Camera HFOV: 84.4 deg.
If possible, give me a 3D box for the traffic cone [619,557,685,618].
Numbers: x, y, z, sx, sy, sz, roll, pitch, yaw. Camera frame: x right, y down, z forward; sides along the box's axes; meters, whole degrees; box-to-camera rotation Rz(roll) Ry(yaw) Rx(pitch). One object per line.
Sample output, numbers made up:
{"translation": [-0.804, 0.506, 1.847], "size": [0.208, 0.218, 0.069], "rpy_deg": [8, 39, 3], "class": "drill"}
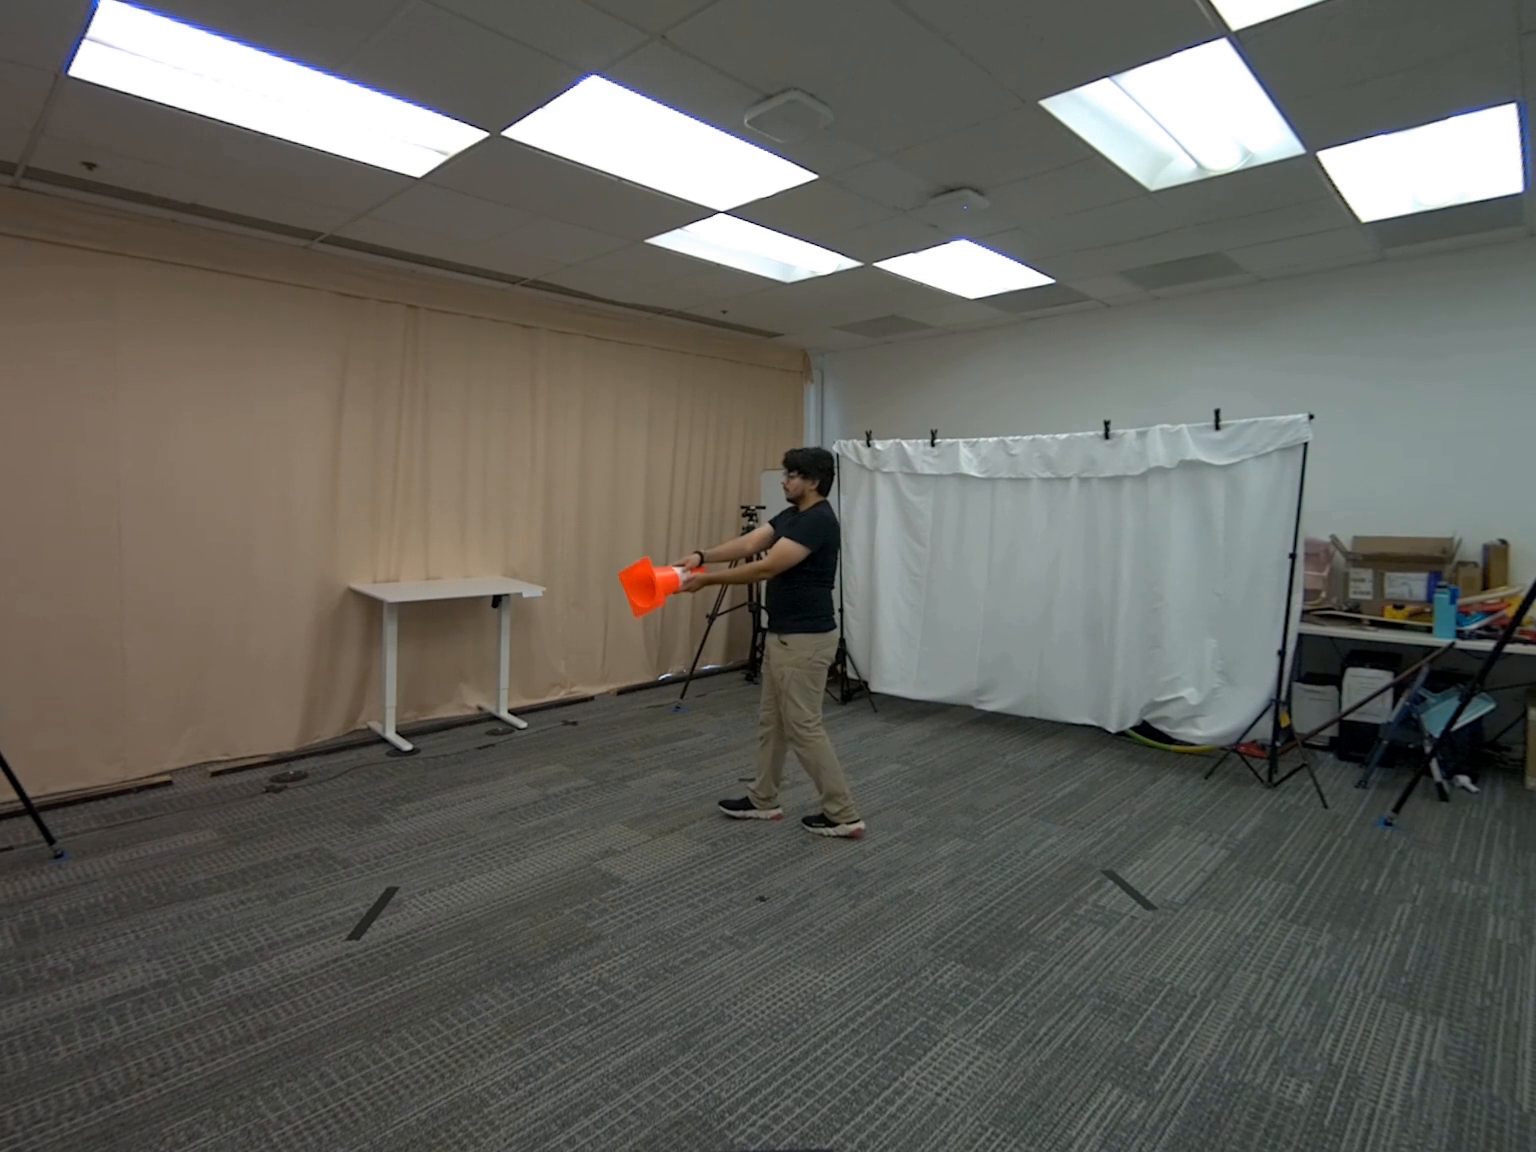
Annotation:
{"translation": [-0.386, 0.016, 3.475], "size": [0.209, 0.205, 0.373], "rpy_deg": [-26, -8, 40], "class": "traffic cone"}
